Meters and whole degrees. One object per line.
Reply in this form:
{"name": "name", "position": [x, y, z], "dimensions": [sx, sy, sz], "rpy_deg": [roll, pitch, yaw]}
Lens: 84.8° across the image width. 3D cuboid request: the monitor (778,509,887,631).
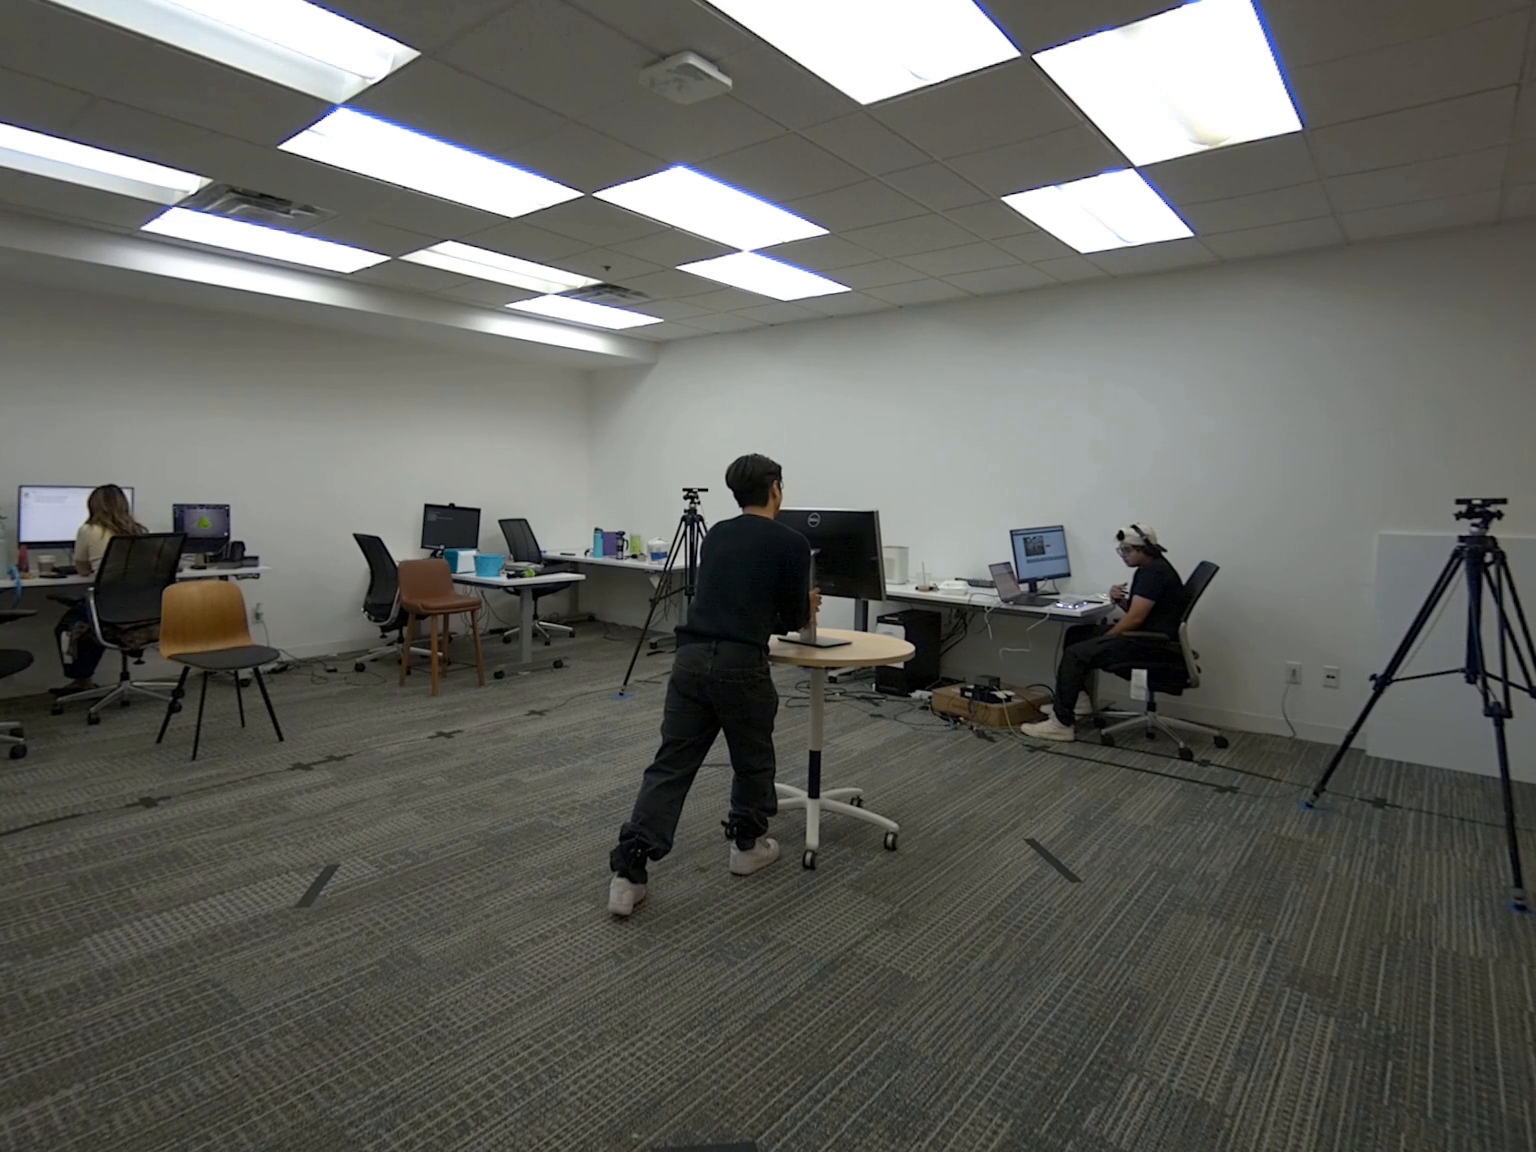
{"name": "monitor", "position": [0.191, -0.007, 3.437], "dimensions": [0.547, 0.517, 0.168], "rpy_deg": [2, -3, 40]}
